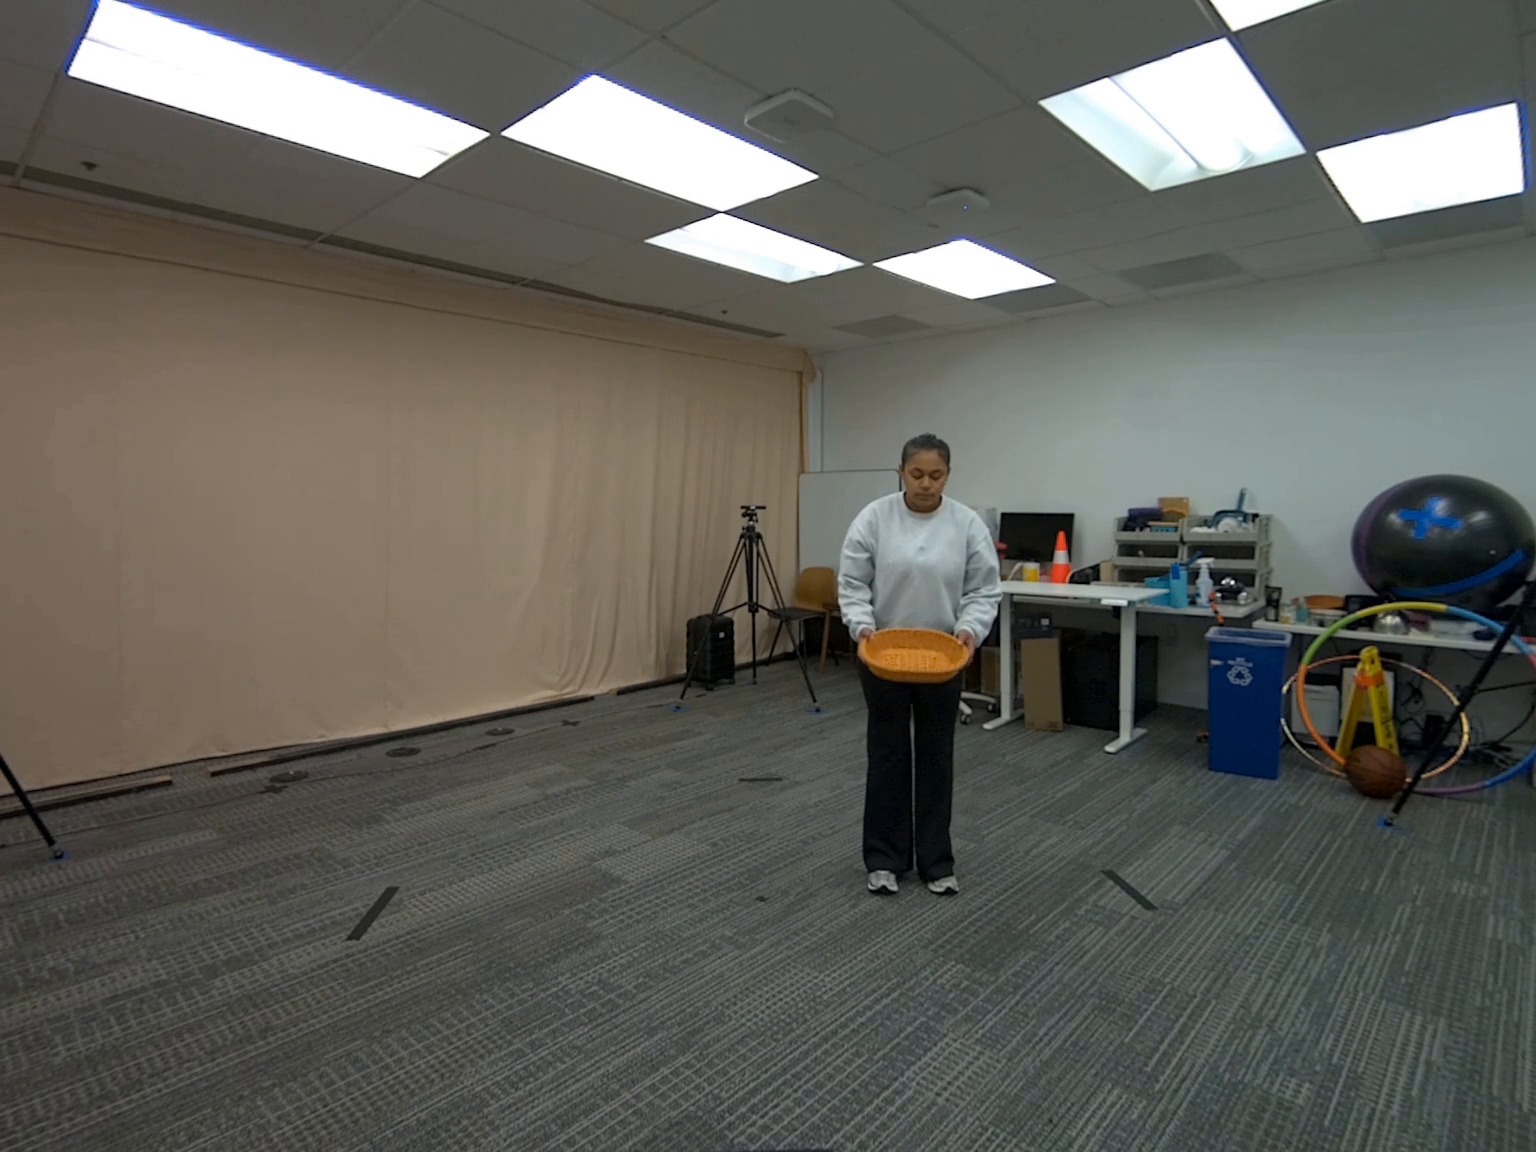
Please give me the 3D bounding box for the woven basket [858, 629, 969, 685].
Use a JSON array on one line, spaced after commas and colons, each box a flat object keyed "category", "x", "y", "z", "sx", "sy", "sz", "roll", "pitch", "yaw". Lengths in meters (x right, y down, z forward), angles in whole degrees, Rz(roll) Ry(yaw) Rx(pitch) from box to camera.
[{"category": "woven basket", "x": 0.491, "y": 0.277, "z": 2.773, "sx": 0.355, "sy": 0.072, "sz": 0.253, "roll": 2, "pitch": 28, "yaw": 11}]
